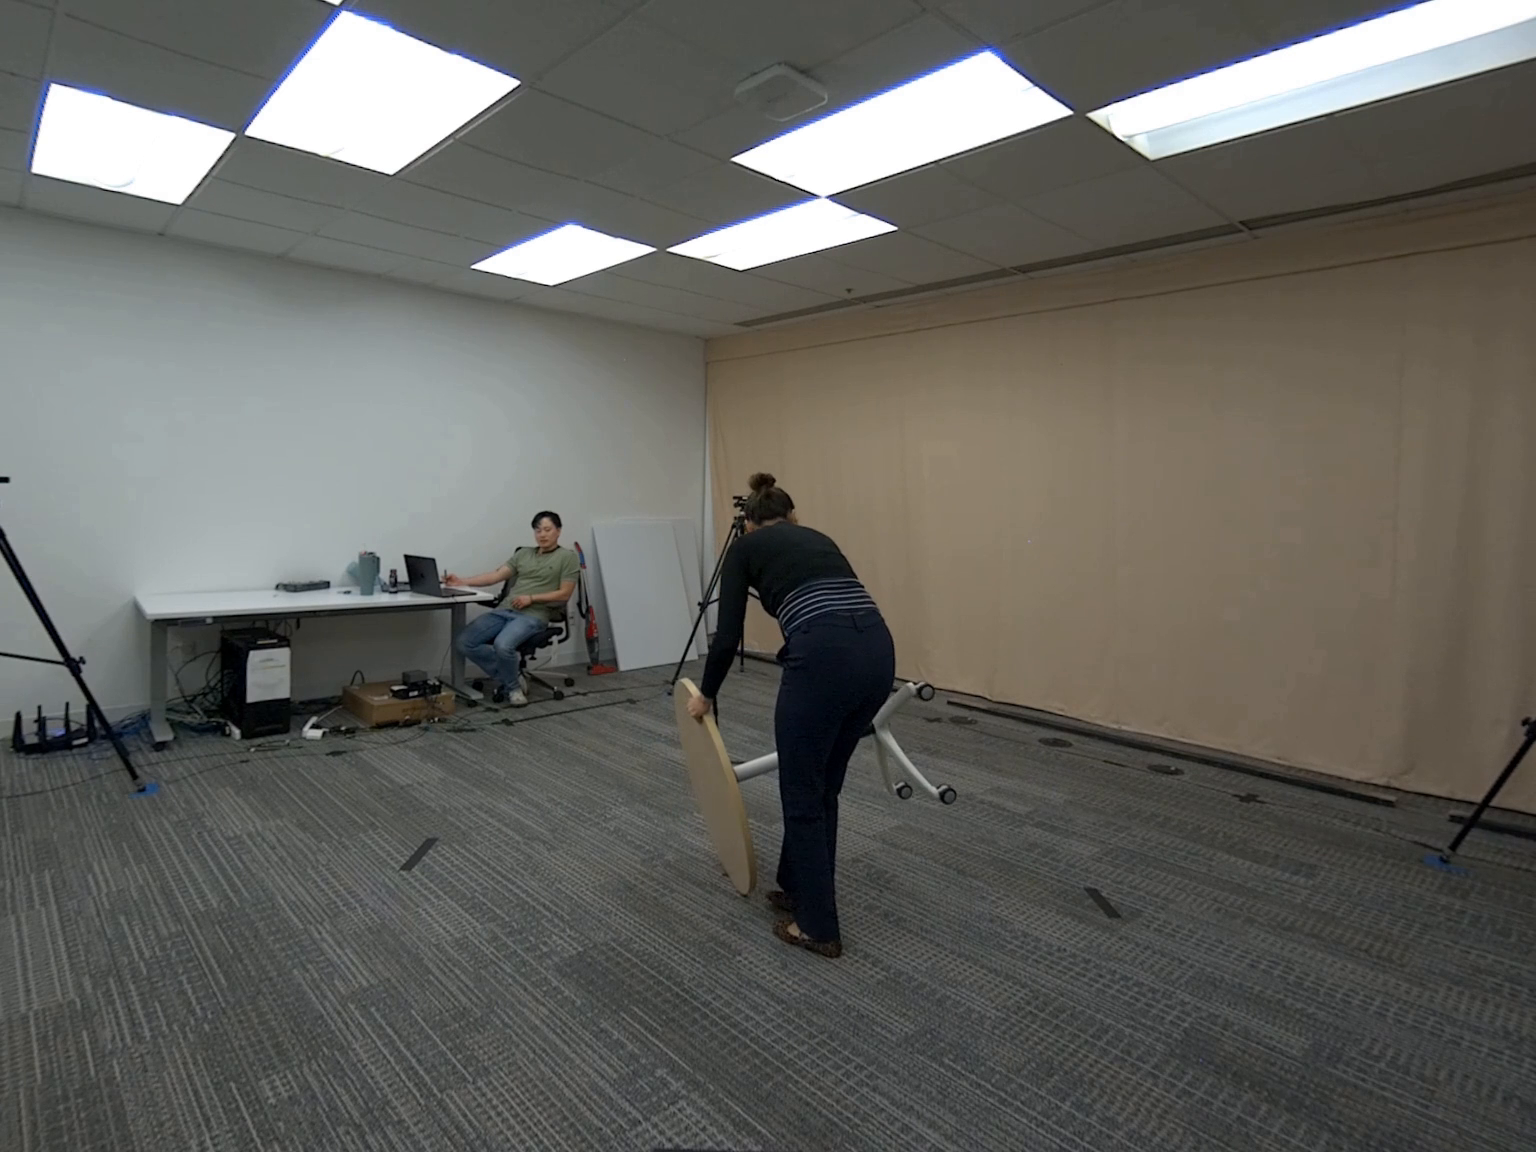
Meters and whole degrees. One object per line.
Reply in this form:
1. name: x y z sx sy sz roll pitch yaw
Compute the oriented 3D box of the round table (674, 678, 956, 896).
1. round table: 0.151 0.644 3.104 0.787 0.759 0.776 -15 9 -16
